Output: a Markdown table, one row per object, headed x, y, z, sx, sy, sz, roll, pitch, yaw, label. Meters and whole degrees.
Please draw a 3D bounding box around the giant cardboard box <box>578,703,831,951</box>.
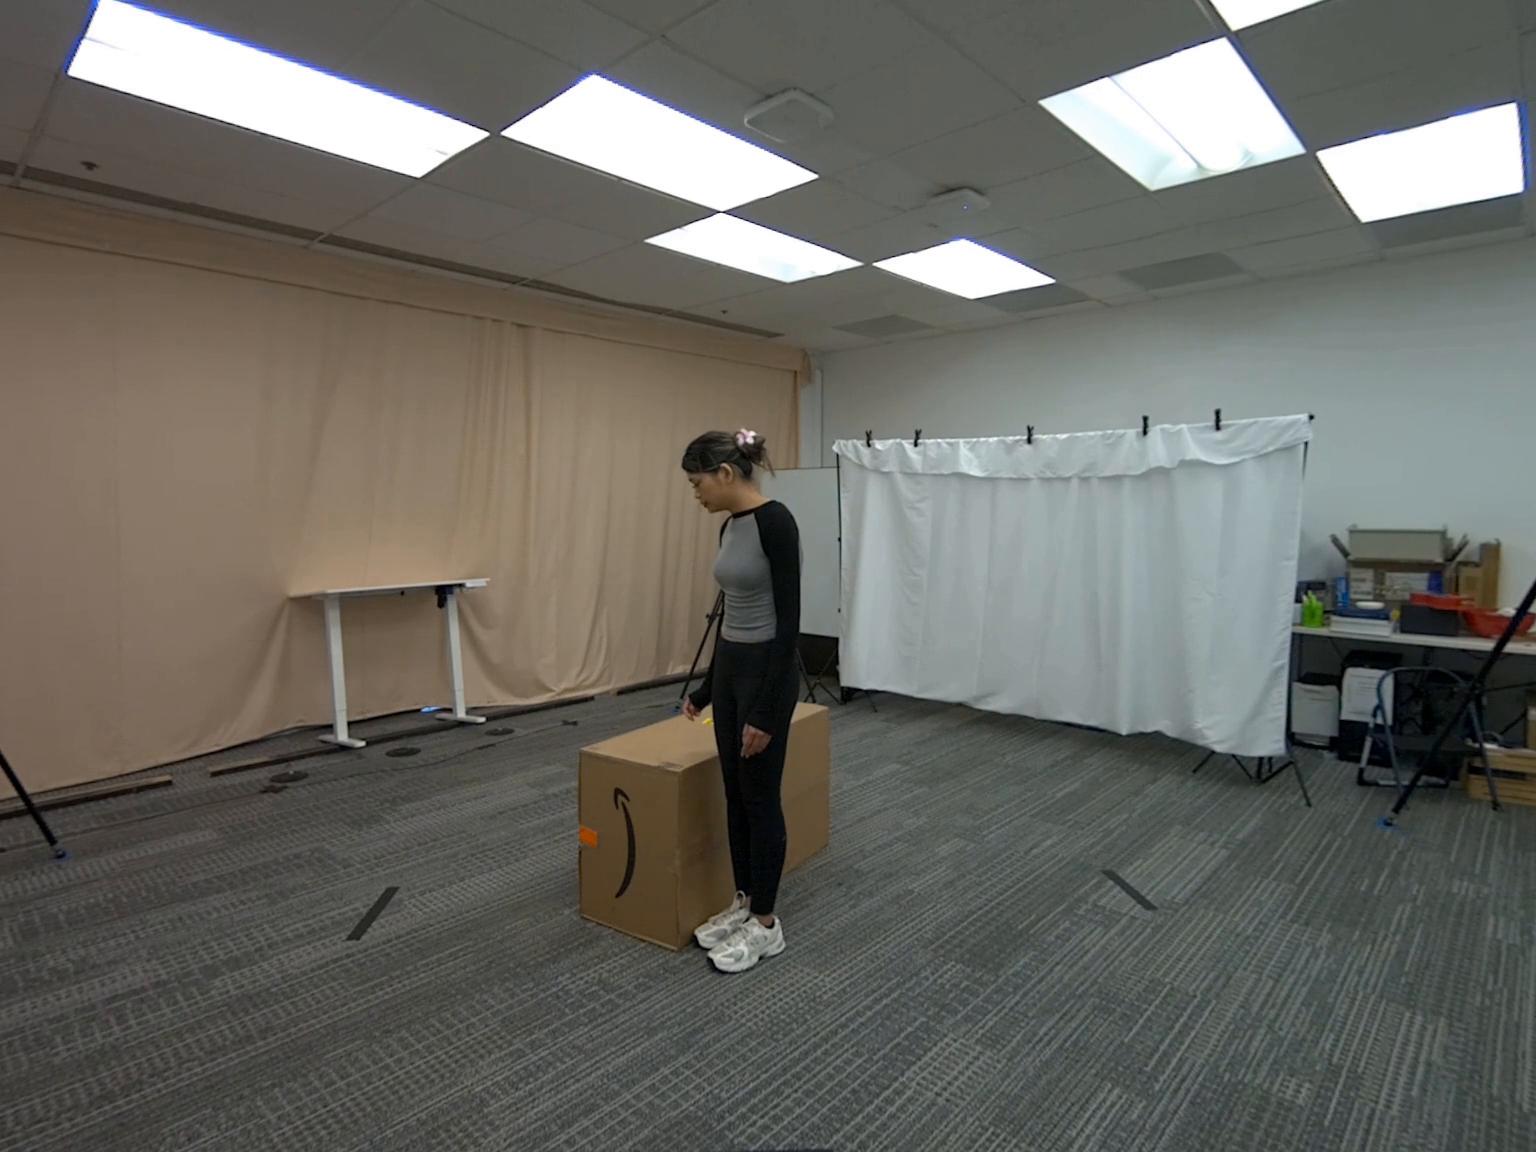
| x | y | z | sx | sy | sz | roll | pitch | yaw | label |
| --- | --- | --- | --- | --- | --- | --- | --- | --- | --- |
| -0.196 | 0.845 | 3.150 | 0.439 | 0.576 | 0.997 | 3 | 5 | 33 | giant cardboard box |
